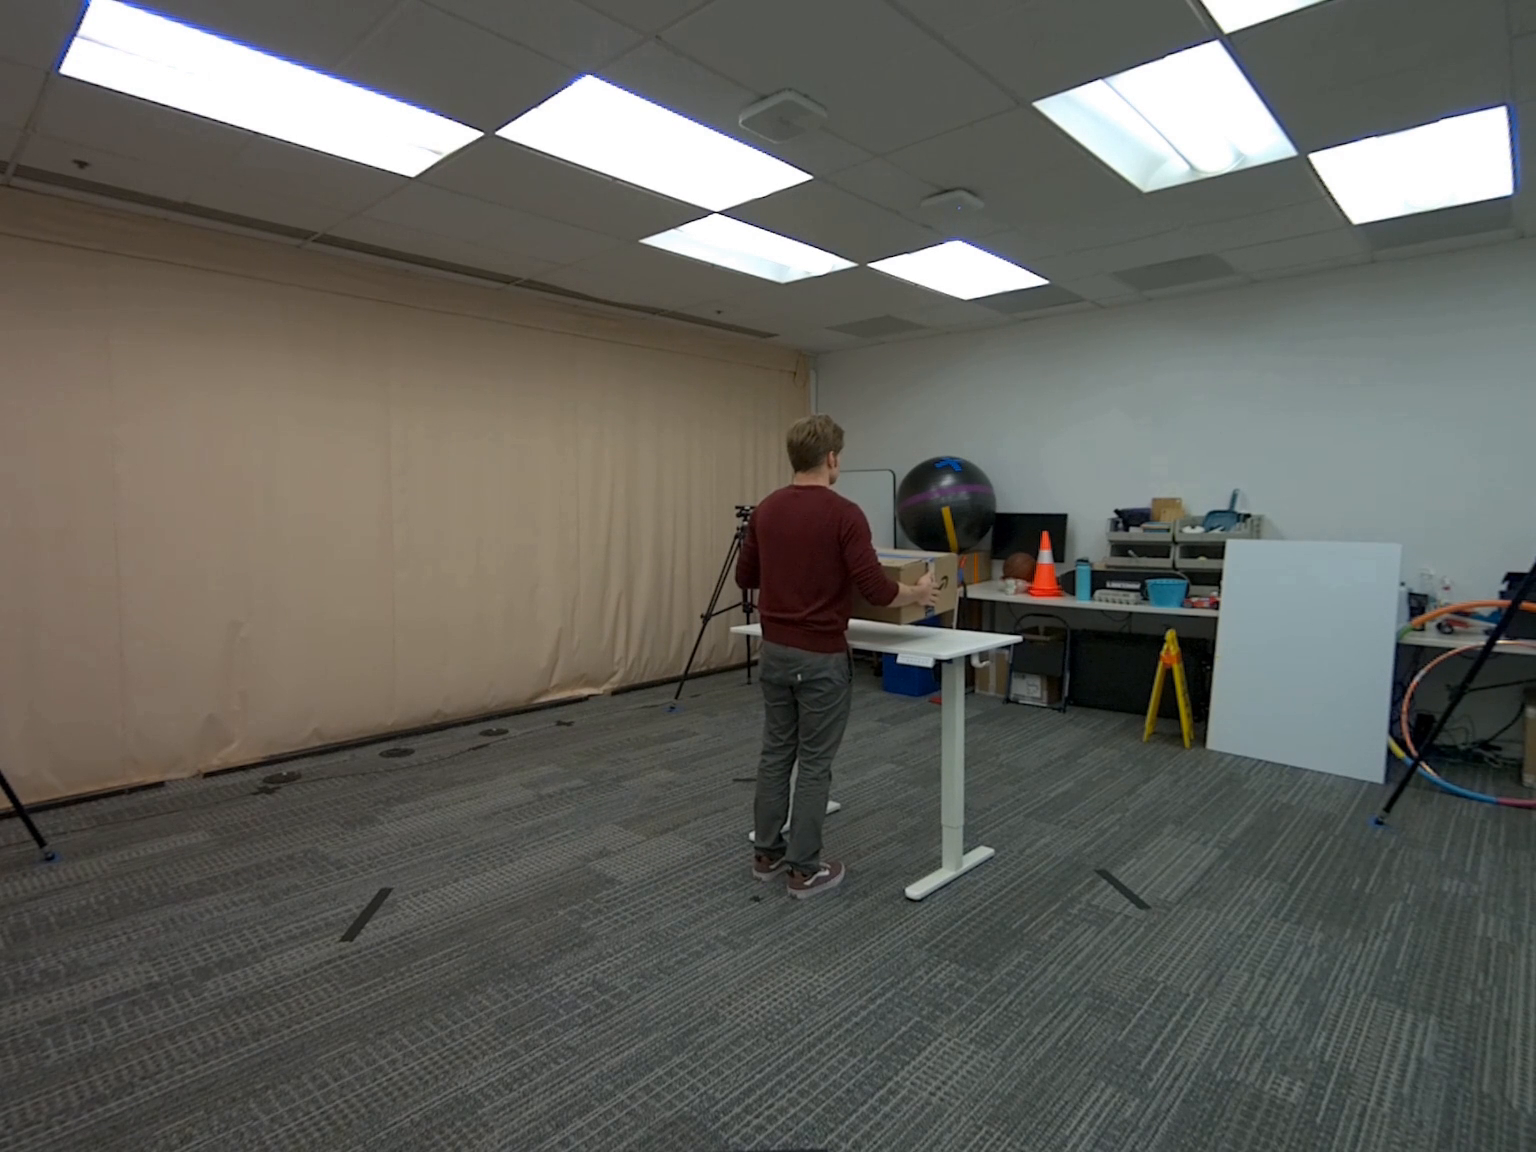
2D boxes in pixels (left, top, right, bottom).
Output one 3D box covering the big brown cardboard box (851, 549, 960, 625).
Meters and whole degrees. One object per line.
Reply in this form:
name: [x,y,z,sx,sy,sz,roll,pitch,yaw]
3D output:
big brown cardboard box: [0.387,0.022,3.322,0.609,0.232,0.406,7,11,40]
